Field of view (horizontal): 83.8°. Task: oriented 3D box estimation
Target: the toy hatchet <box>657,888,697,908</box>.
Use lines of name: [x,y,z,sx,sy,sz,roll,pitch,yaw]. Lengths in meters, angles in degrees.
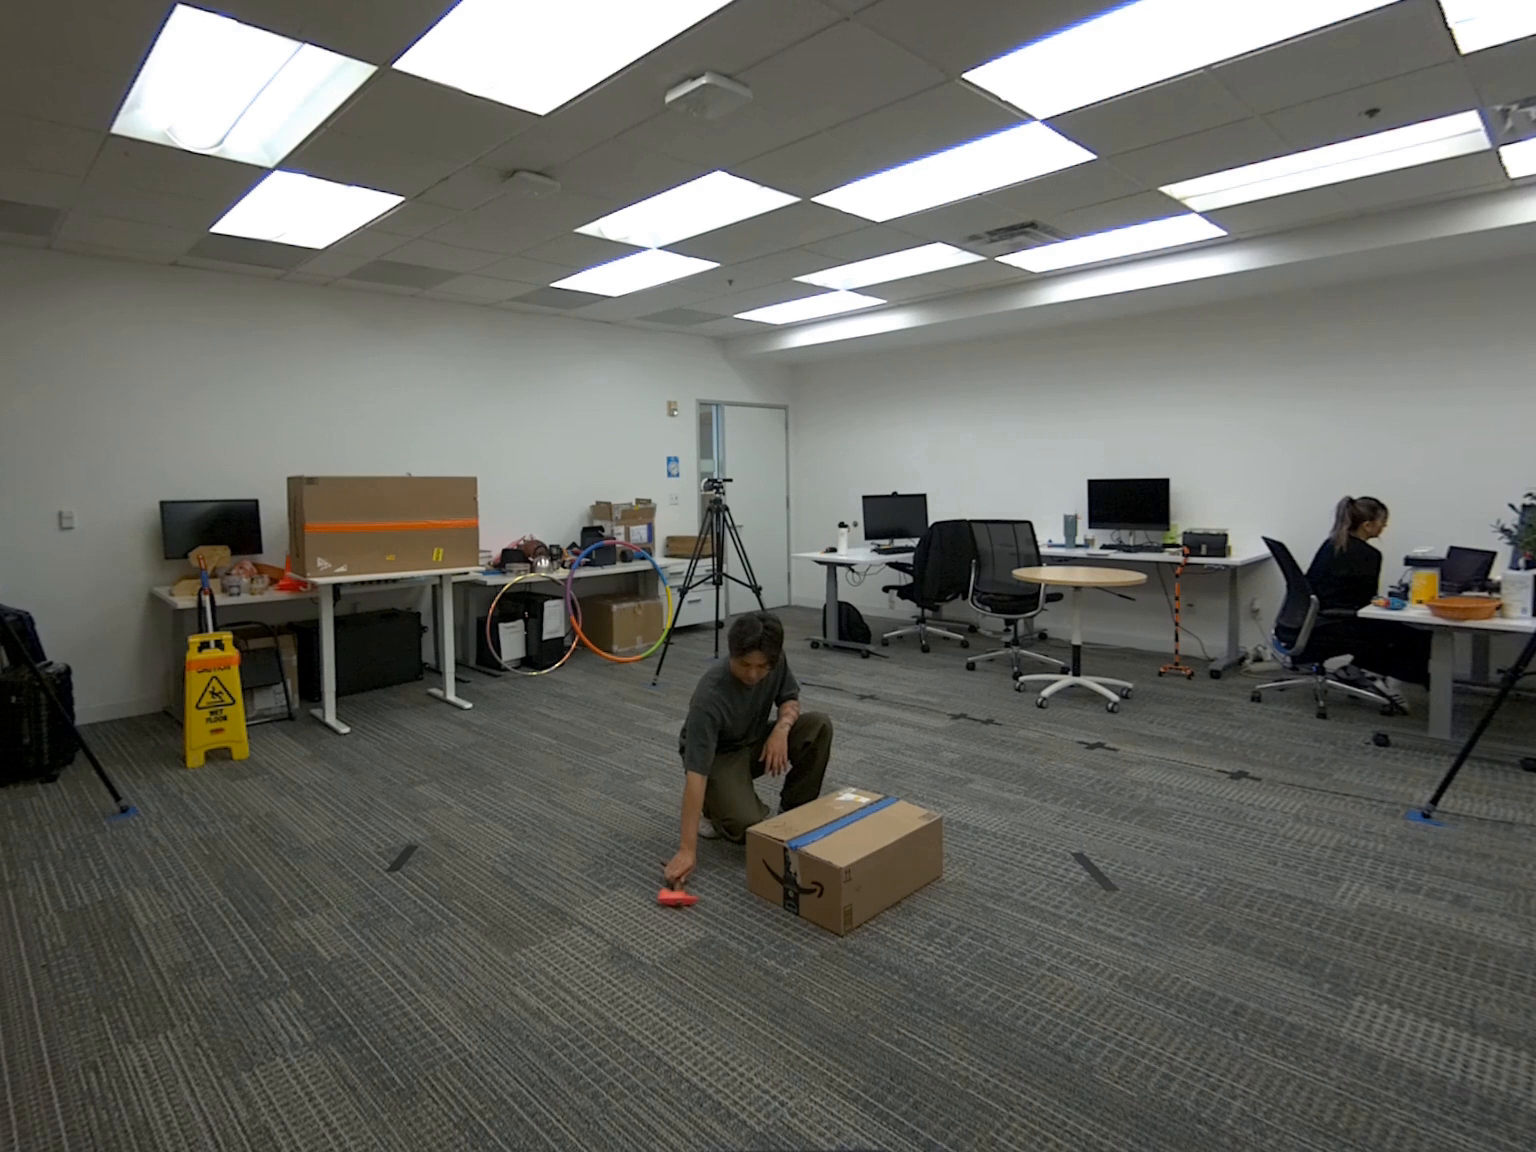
toy hatchet: [-0.338,1.053,2.905,0.128,0.029,0.278,-2,10,-26]
